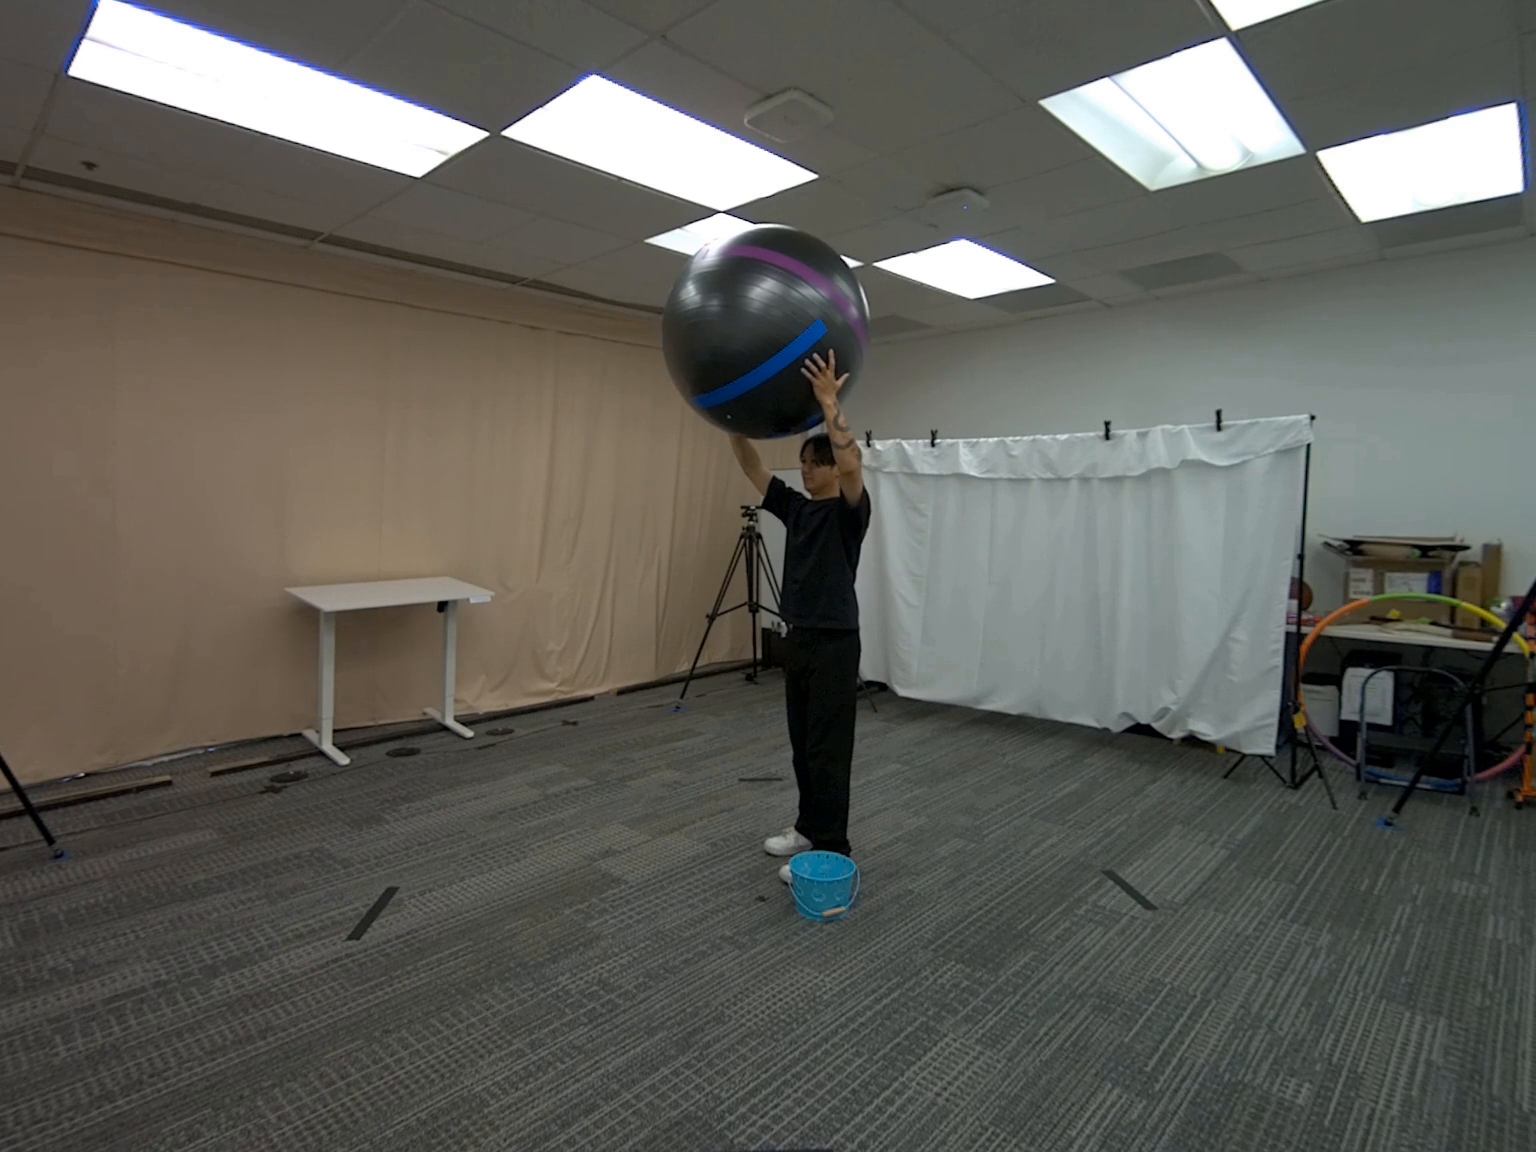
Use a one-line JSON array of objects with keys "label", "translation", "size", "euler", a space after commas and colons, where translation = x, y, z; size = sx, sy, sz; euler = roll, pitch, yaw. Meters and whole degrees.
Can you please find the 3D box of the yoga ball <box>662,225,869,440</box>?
[{"label": "yoga ball", "translation": [-0.010, -0.876, 3.090], "size": [0.757, 0.756, 0.760], "euler": [0, 4, -2]}]
